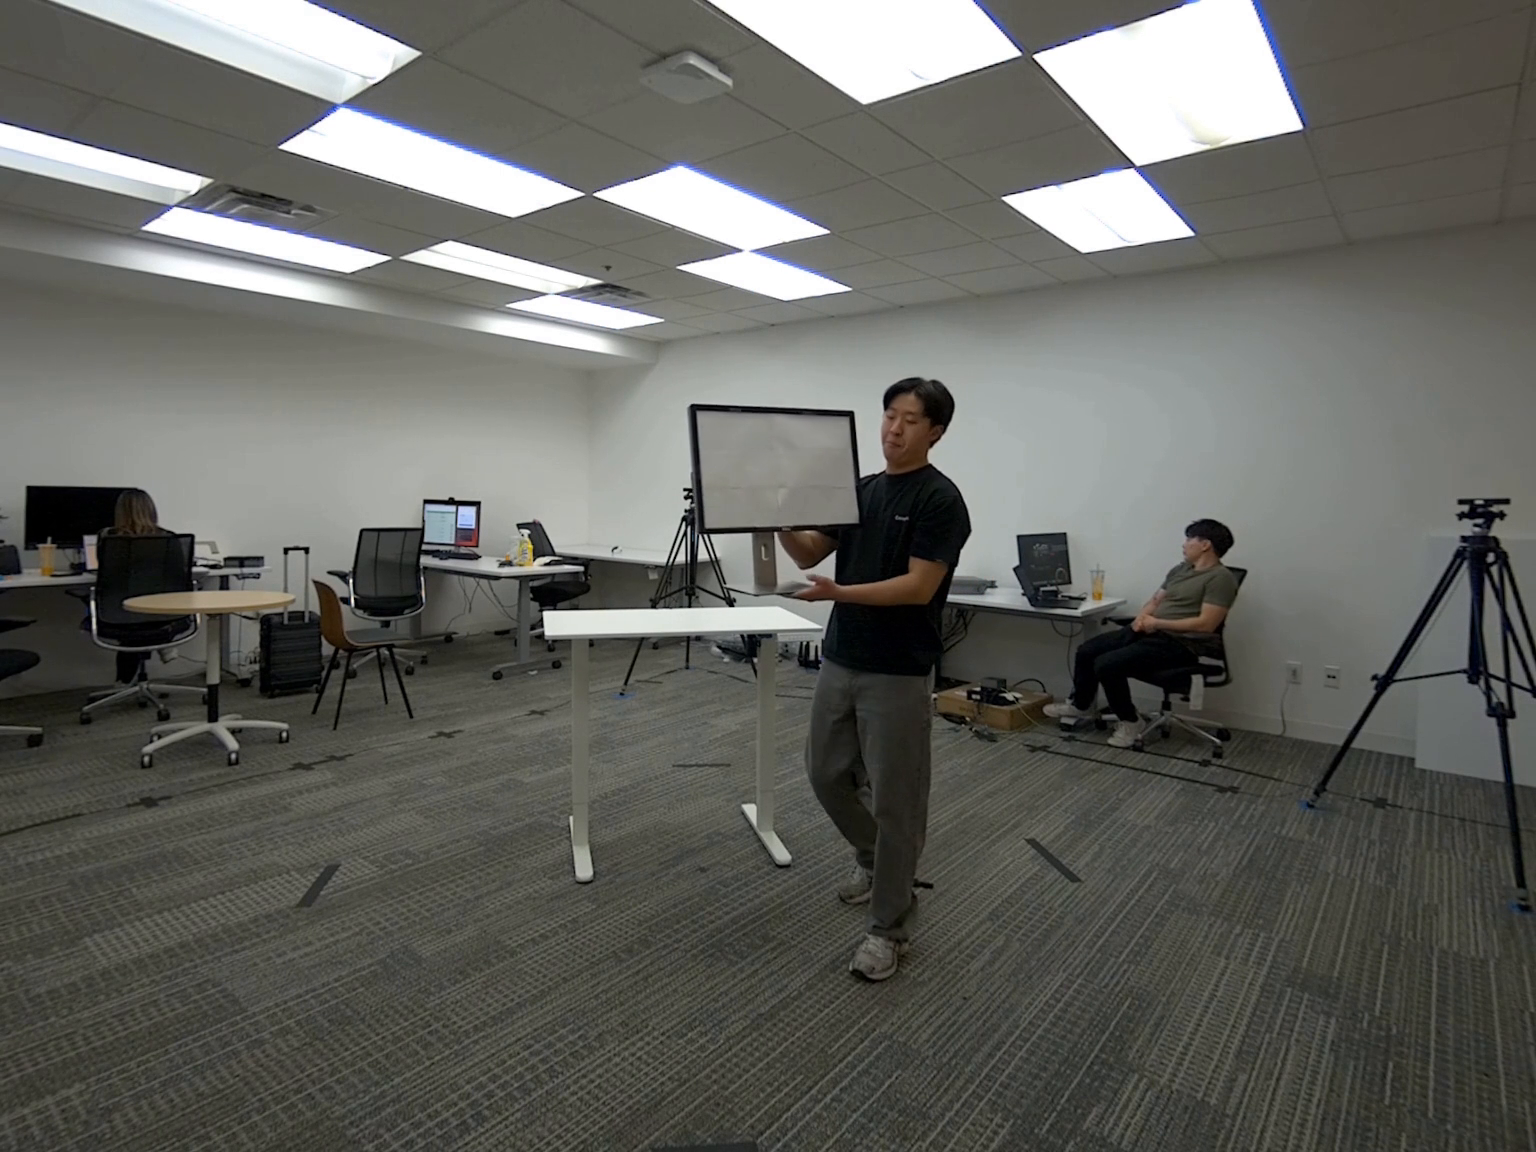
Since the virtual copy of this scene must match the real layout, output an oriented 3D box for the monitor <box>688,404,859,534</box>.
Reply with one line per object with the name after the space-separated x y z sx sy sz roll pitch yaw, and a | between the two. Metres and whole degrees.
0.011 -0.213 2.504 0.549 0.561 0.229 -3 10 -26 | monitor
